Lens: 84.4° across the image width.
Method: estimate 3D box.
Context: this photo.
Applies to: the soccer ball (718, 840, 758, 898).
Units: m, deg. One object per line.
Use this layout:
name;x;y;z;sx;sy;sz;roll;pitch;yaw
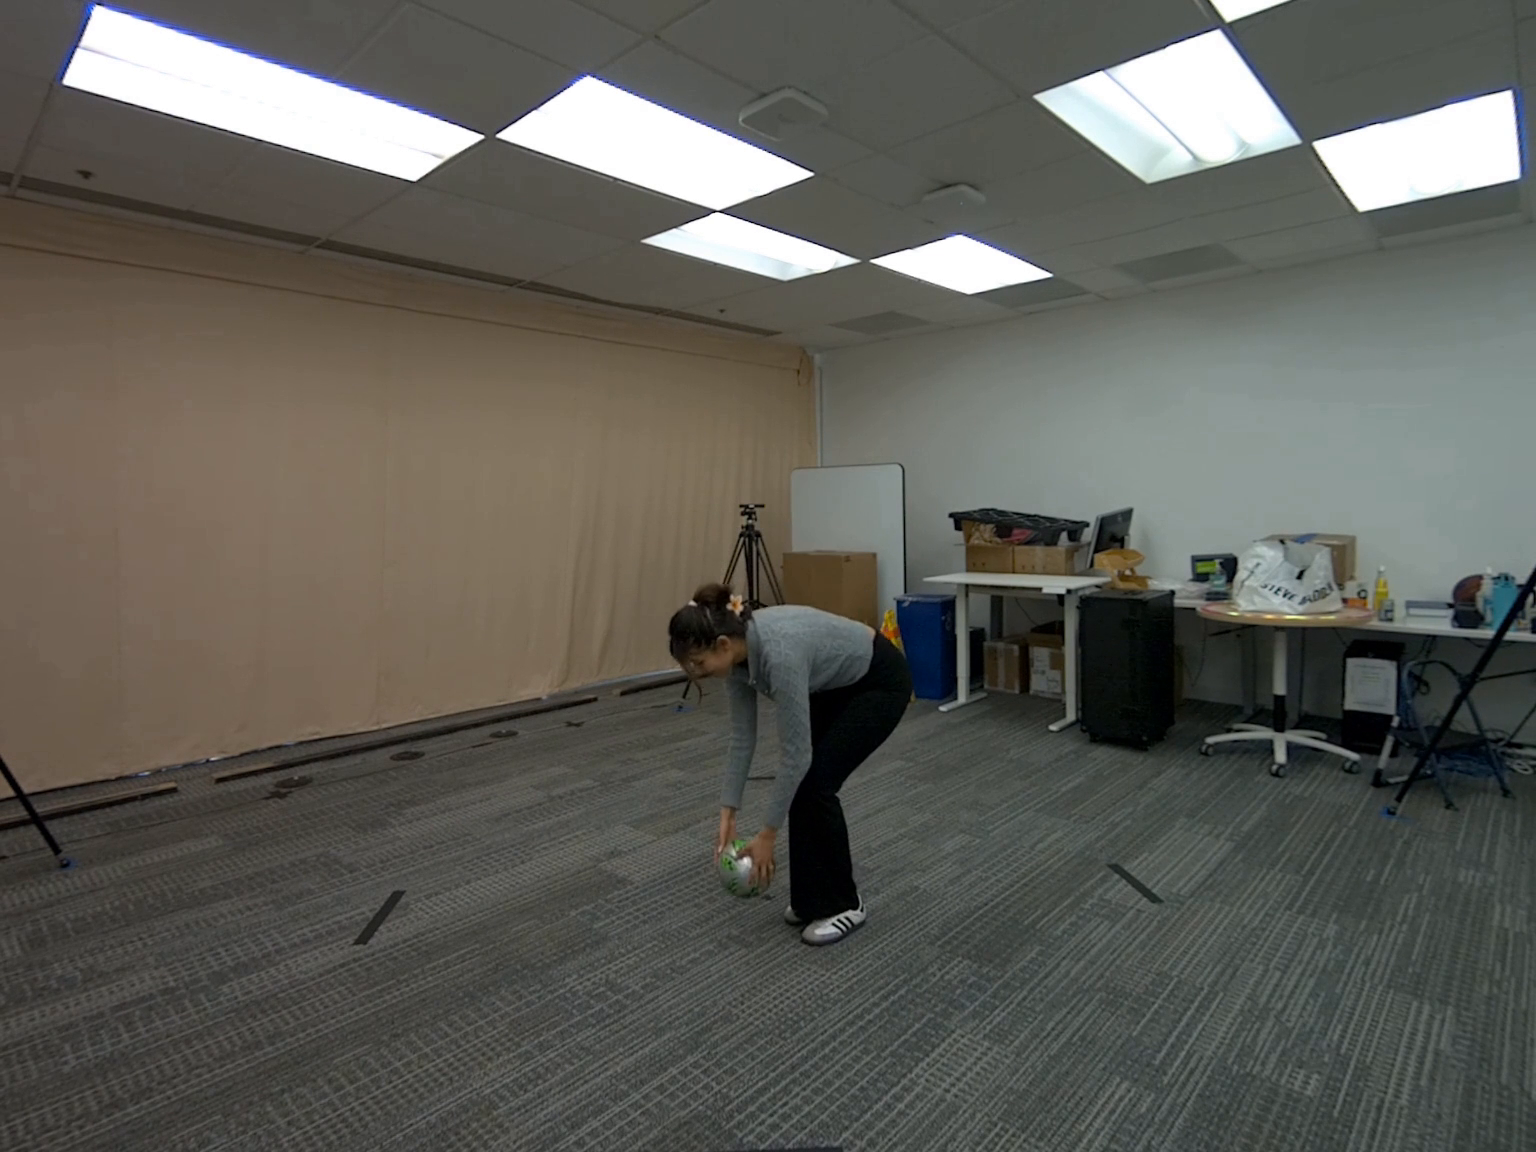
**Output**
soccer ball;-0.067;0.912;2.678;0.187;0.187;0.188;-1;4;-2
